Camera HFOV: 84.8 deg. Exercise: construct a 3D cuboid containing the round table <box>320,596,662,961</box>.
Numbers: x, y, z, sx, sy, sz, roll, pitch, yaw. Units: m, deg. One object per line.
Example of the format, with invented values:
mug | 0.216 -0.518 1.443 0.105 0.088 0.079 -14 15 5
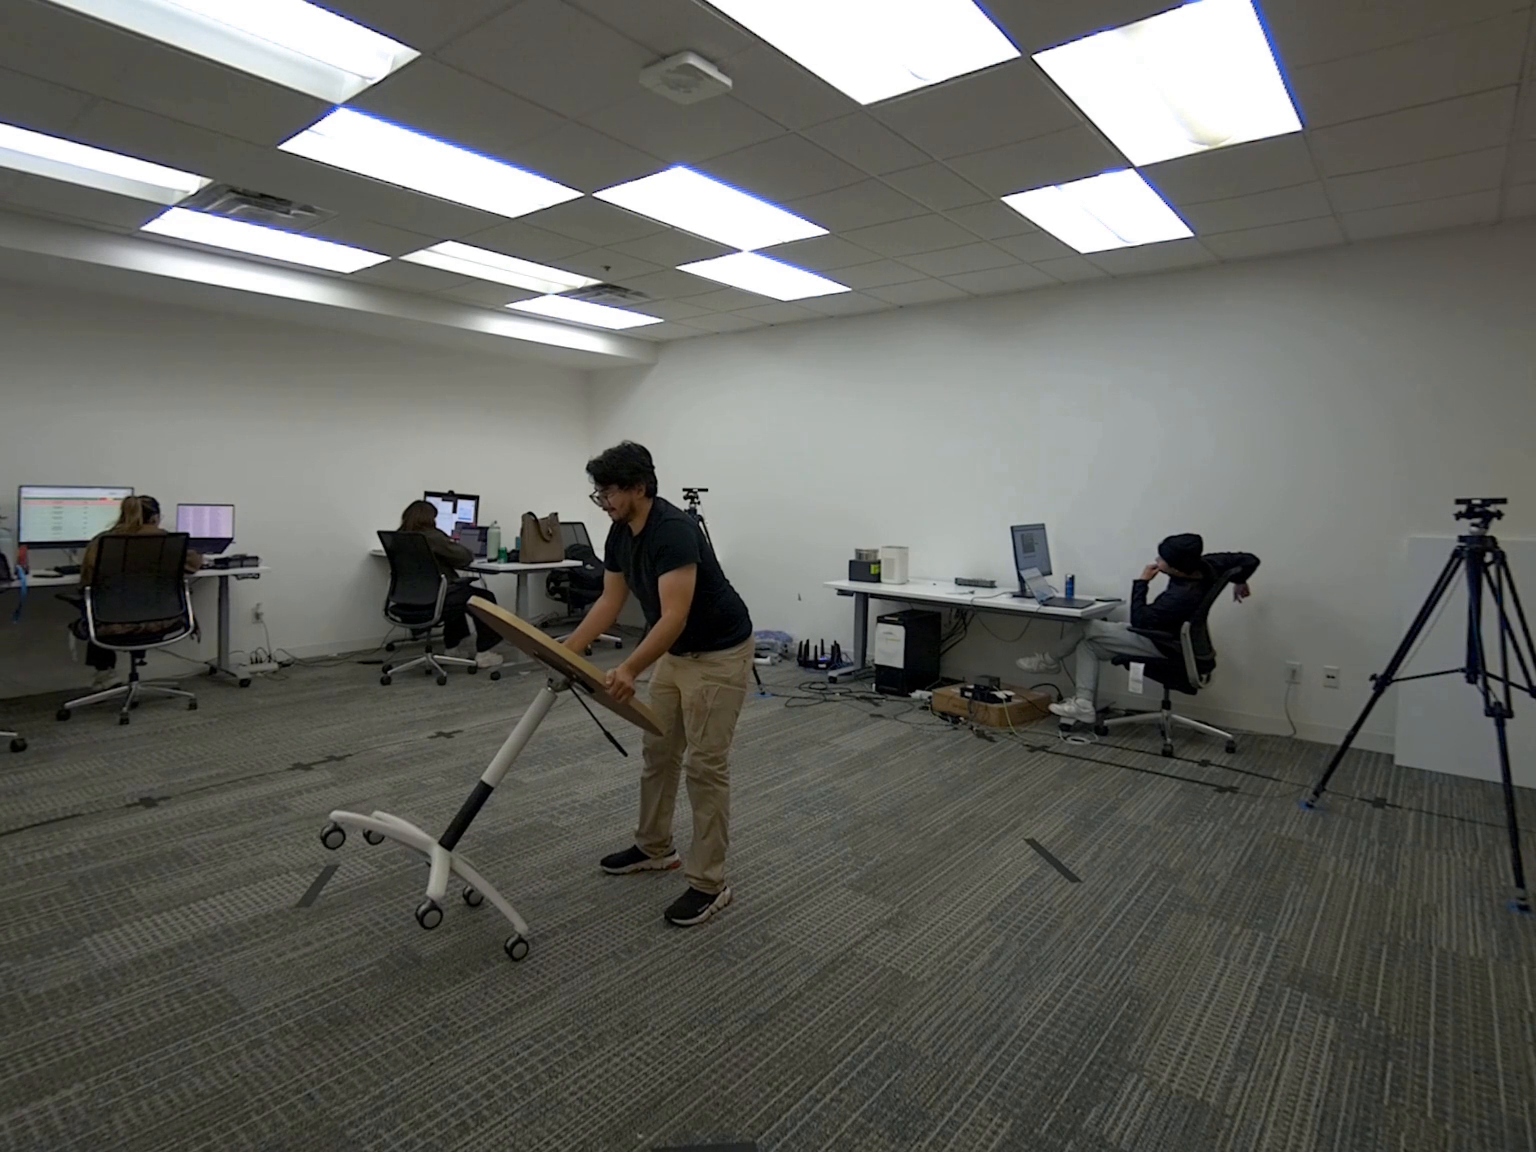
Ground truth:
round table | -0.868 0.610 2.659 0.796 0.789 0.772 30 -17 8
